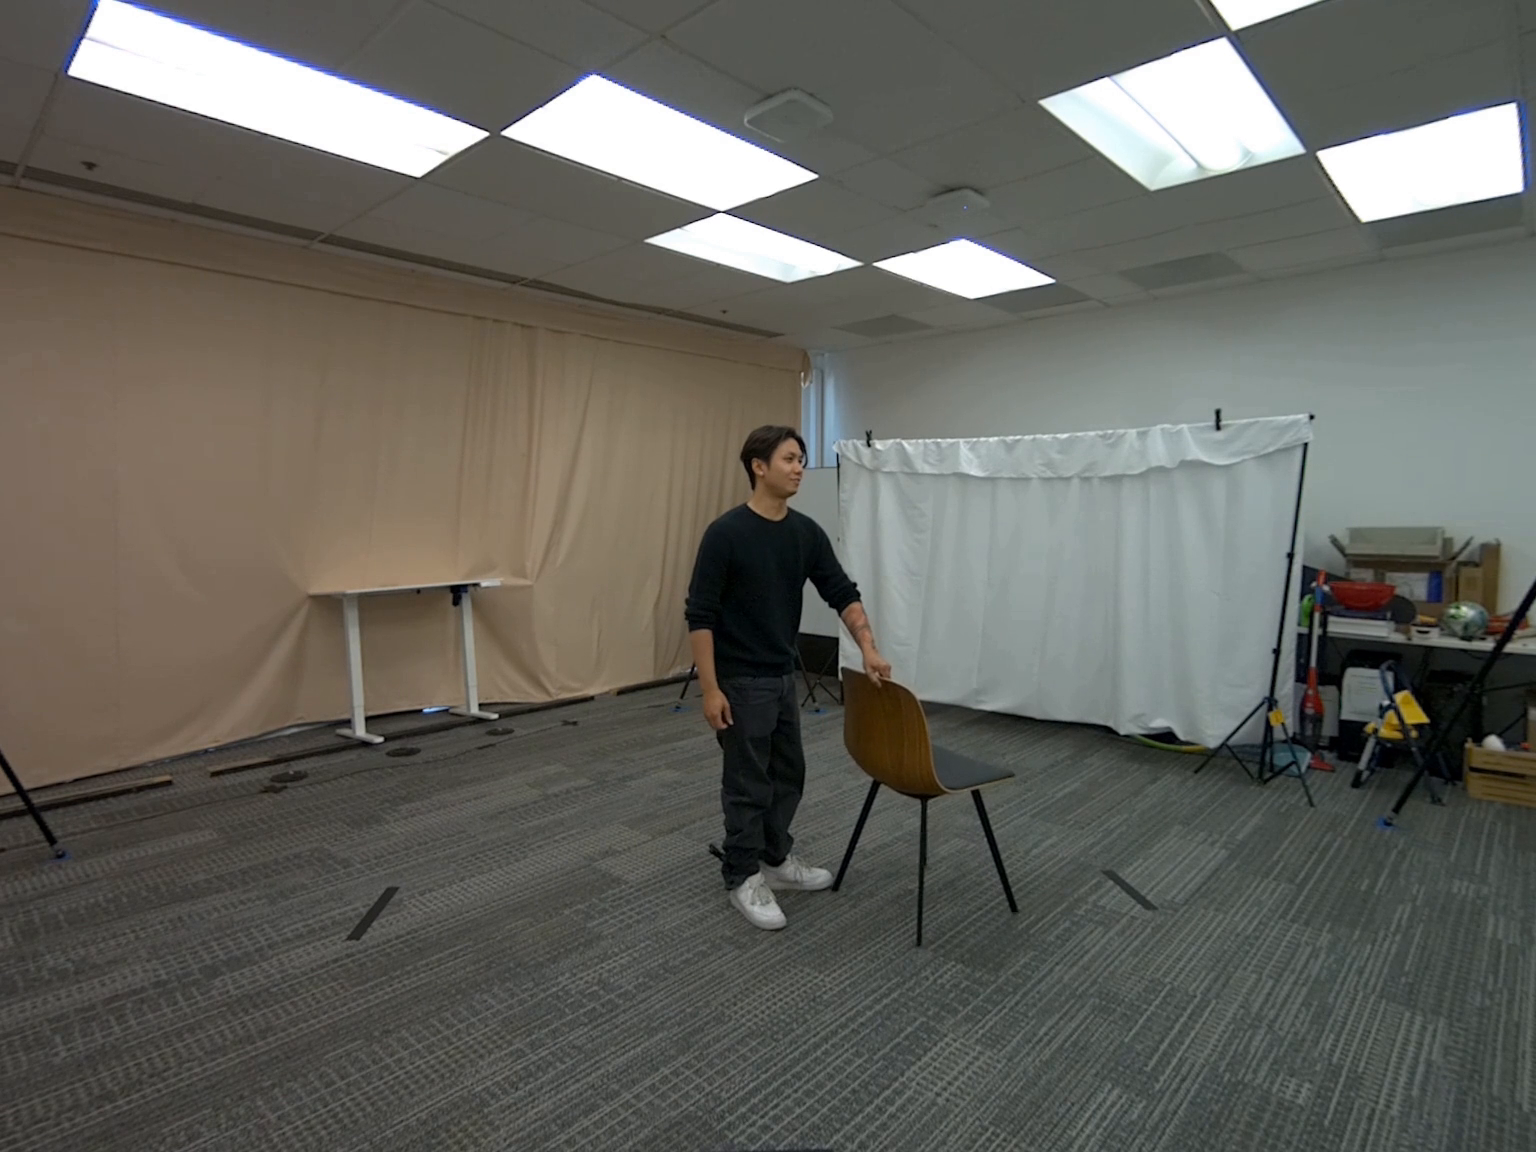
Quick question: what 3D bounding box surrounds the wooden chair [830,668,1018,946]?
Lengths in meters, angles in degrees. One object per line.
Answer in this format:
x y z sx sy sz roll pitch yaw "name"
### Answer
0.551 0.720 2.925 0.509 0.874 0.493 -8 7 -32 "wooden chair"
